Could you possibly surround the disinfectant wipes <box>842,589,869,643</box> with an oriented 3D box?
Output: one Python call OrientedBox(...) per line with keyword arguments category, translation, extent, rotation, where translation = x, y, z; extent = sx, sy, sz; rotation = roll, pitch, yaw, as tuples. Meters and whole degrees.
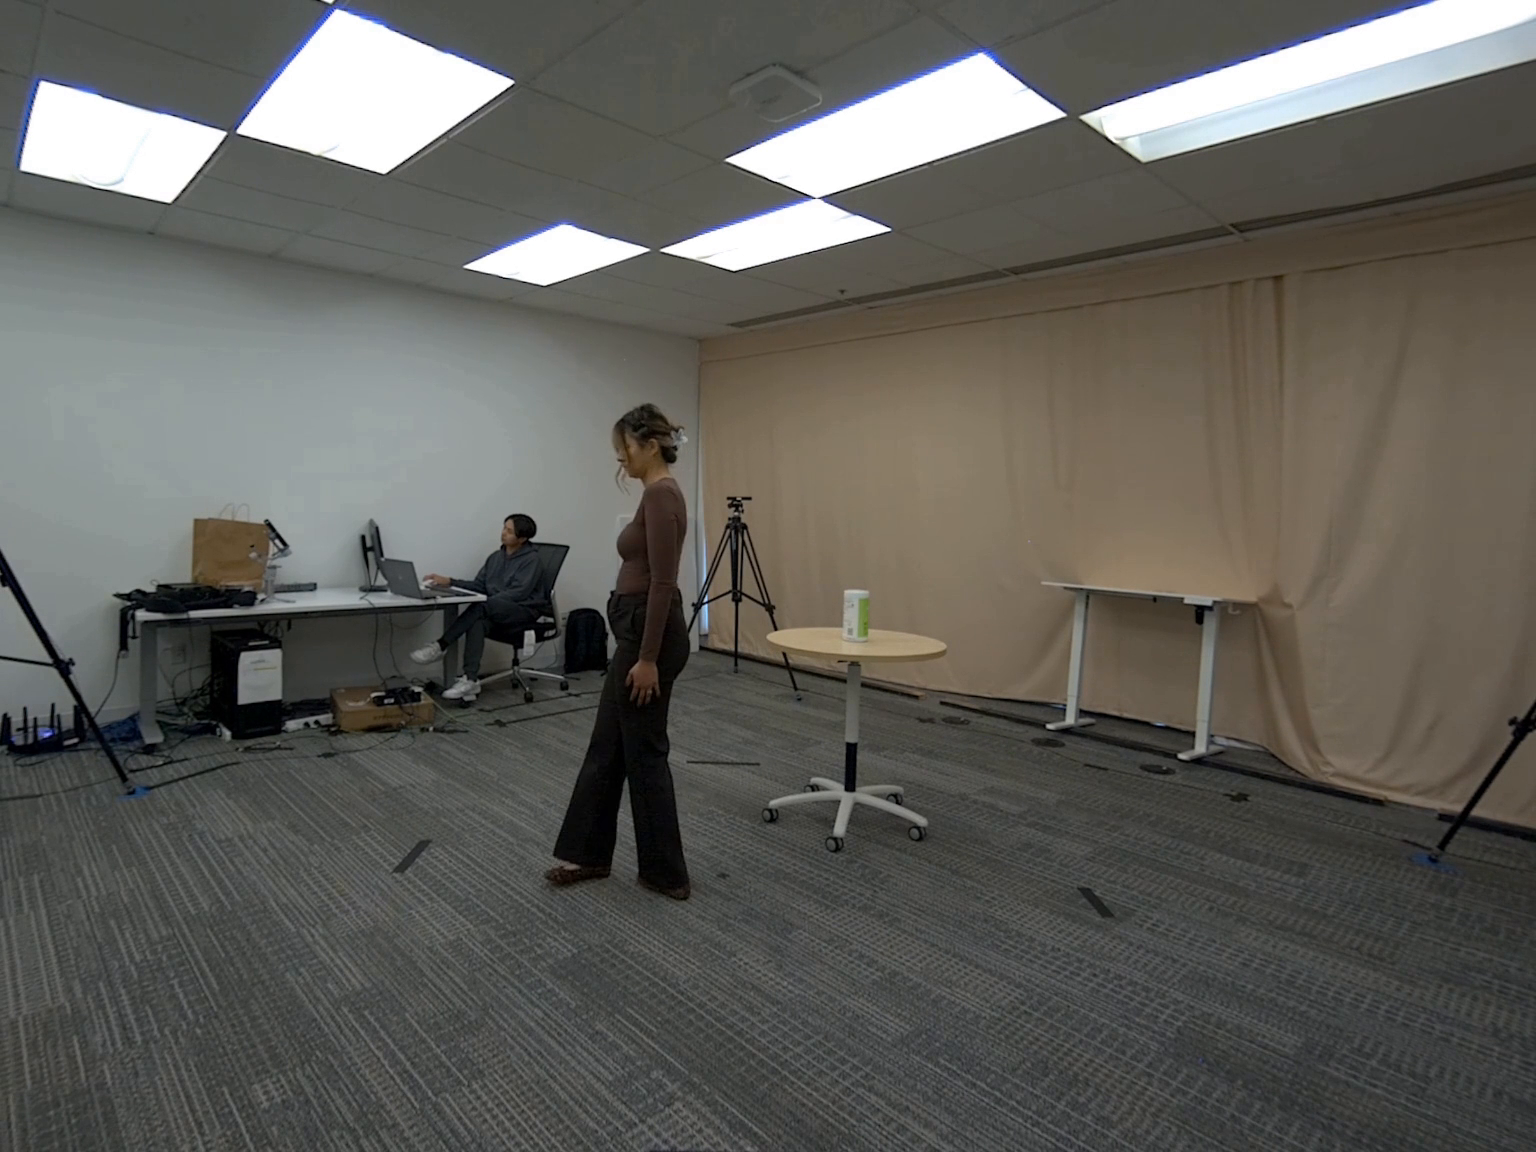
OrientedBox(category="disinfectant wipes", translation=(0.374, 0.172, 3.619), extent=(0.118, 0.217, 0.118), rotation=(2, 3, -1))
